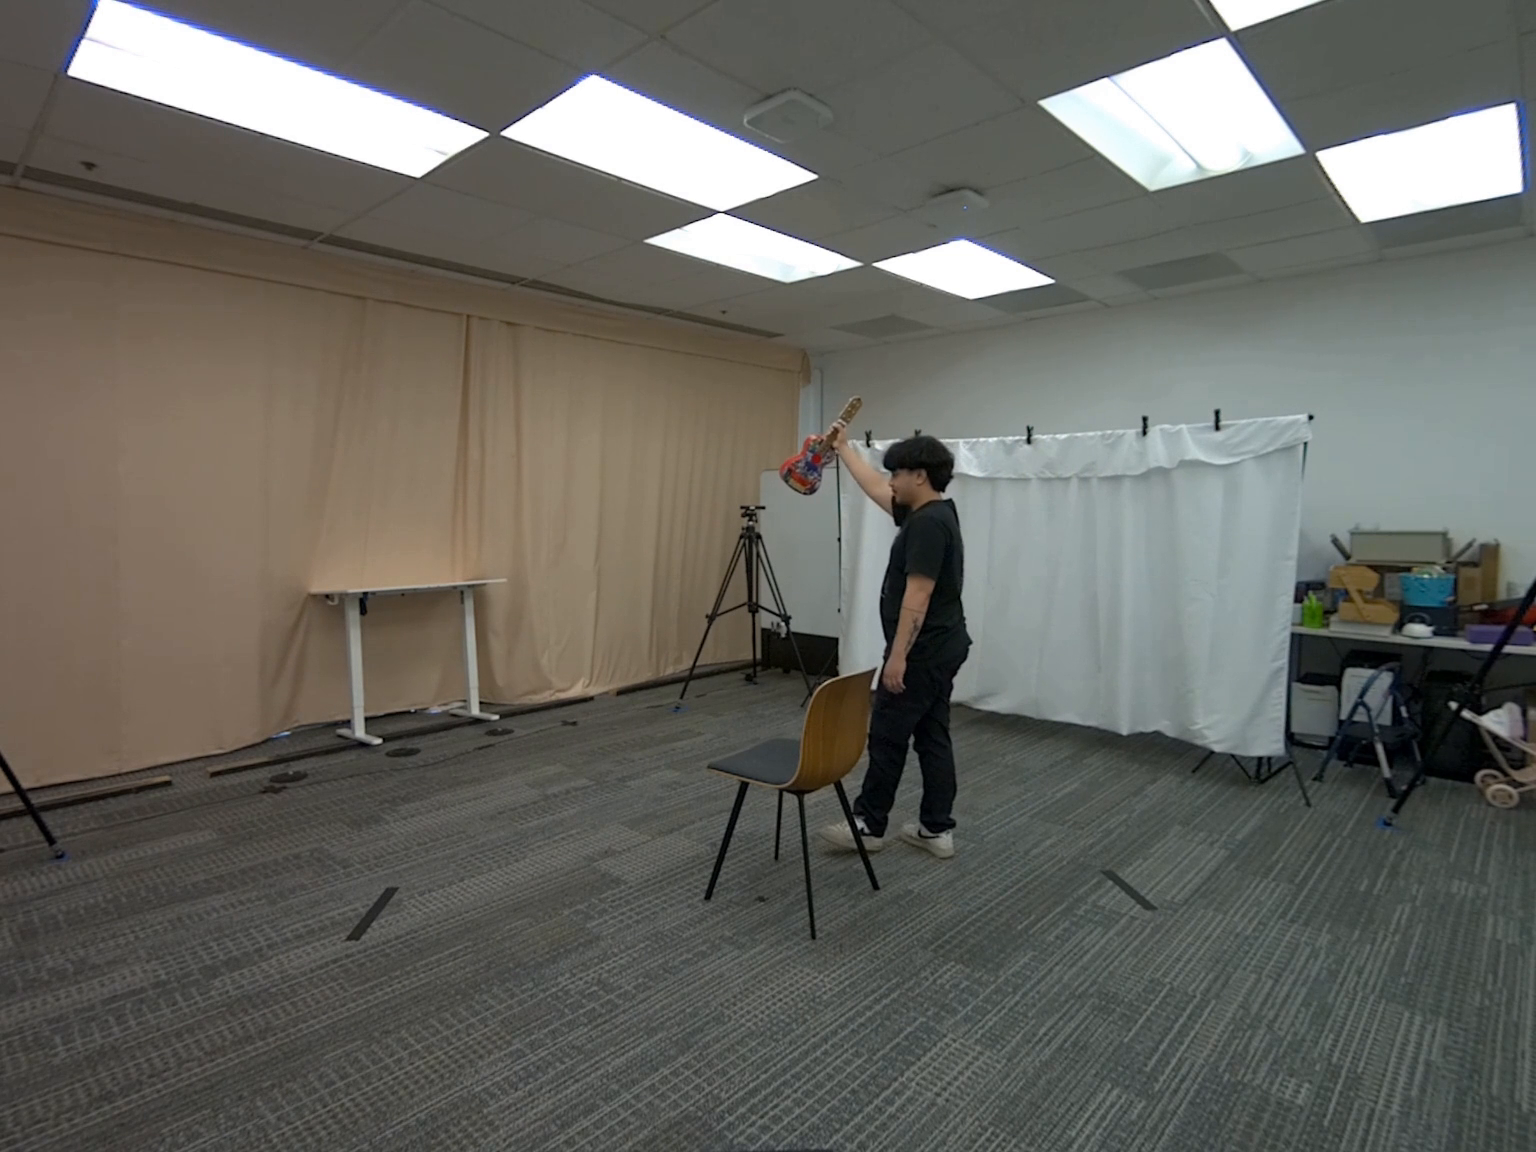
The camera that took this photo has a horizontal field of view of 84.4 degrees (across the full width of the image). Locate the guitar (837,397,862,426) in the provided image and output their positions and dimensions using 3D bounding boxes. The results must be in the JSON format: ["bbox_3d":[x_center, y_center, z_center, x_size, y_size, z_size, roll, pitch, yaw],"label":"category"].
[{"bbox_3d":[0.276,-0.580,3.802,0.188,0.499,0.072,38,11,-20],"label":"guitar"}]
